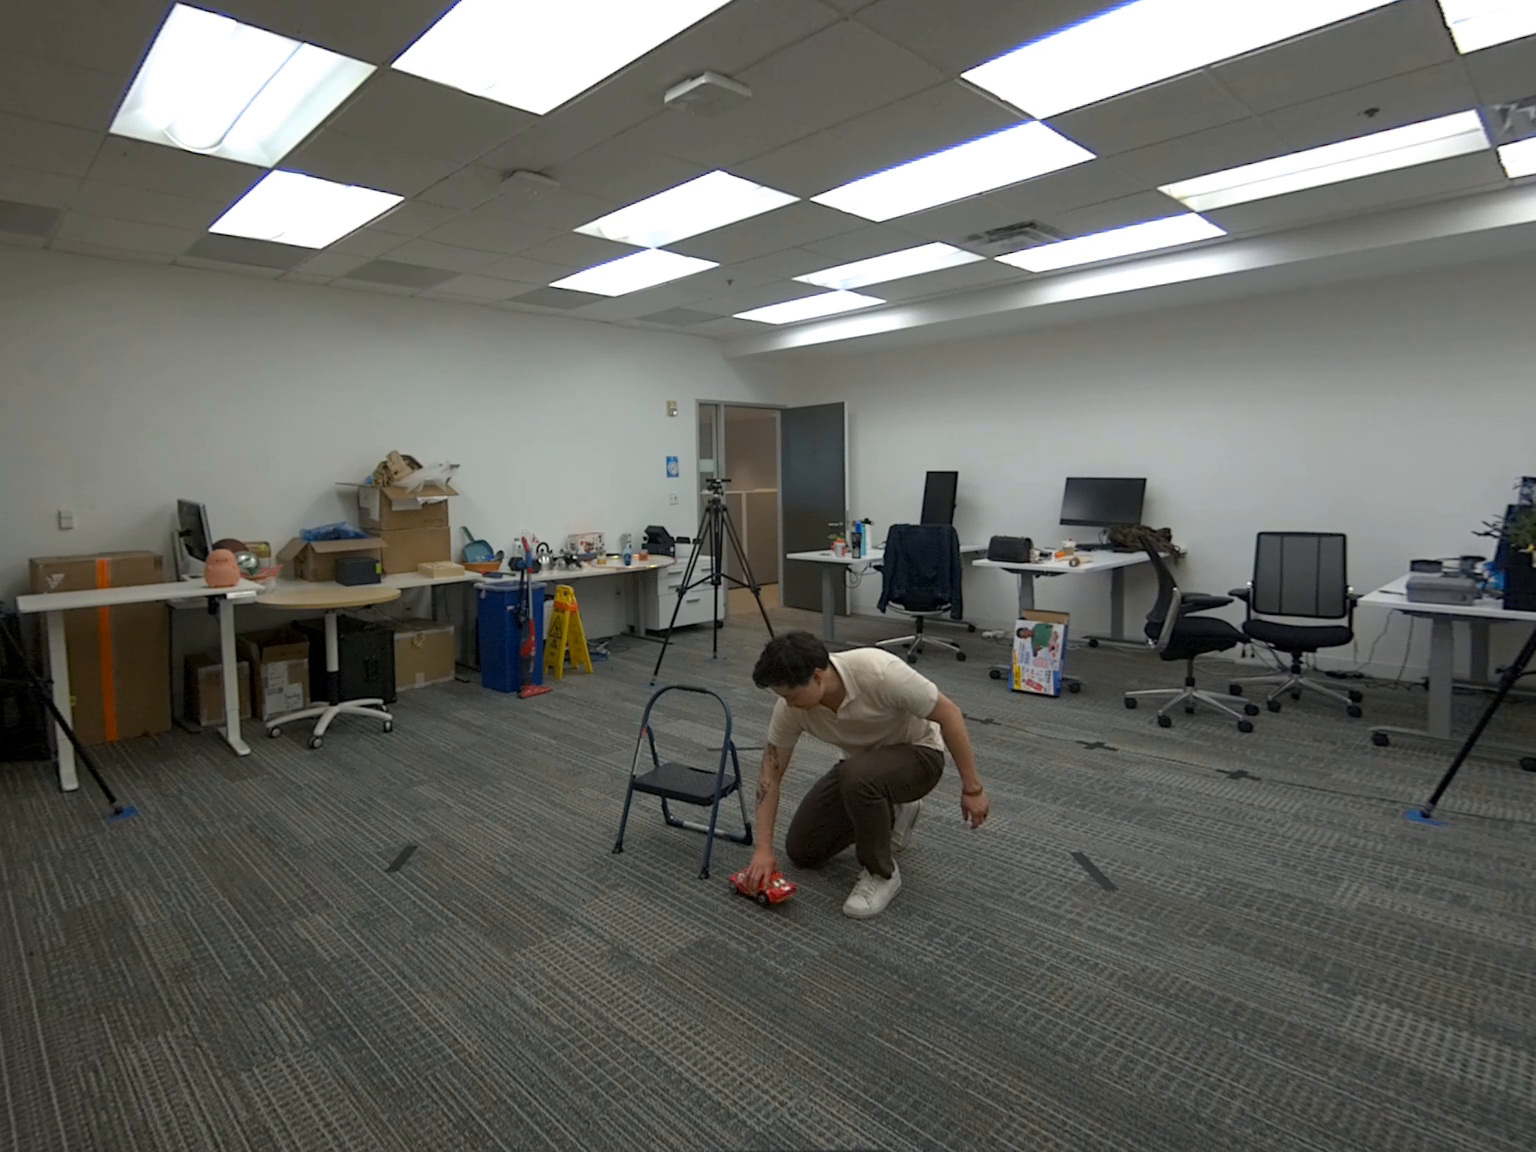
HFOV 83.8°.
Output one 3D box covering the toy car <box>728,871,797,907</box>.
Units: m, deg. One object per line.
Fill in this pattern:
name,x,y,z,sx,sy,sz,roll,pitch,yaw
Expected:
toy car,-0.010,1.039,2.836,0.127,0.084,0.259,-8,-6,-42
